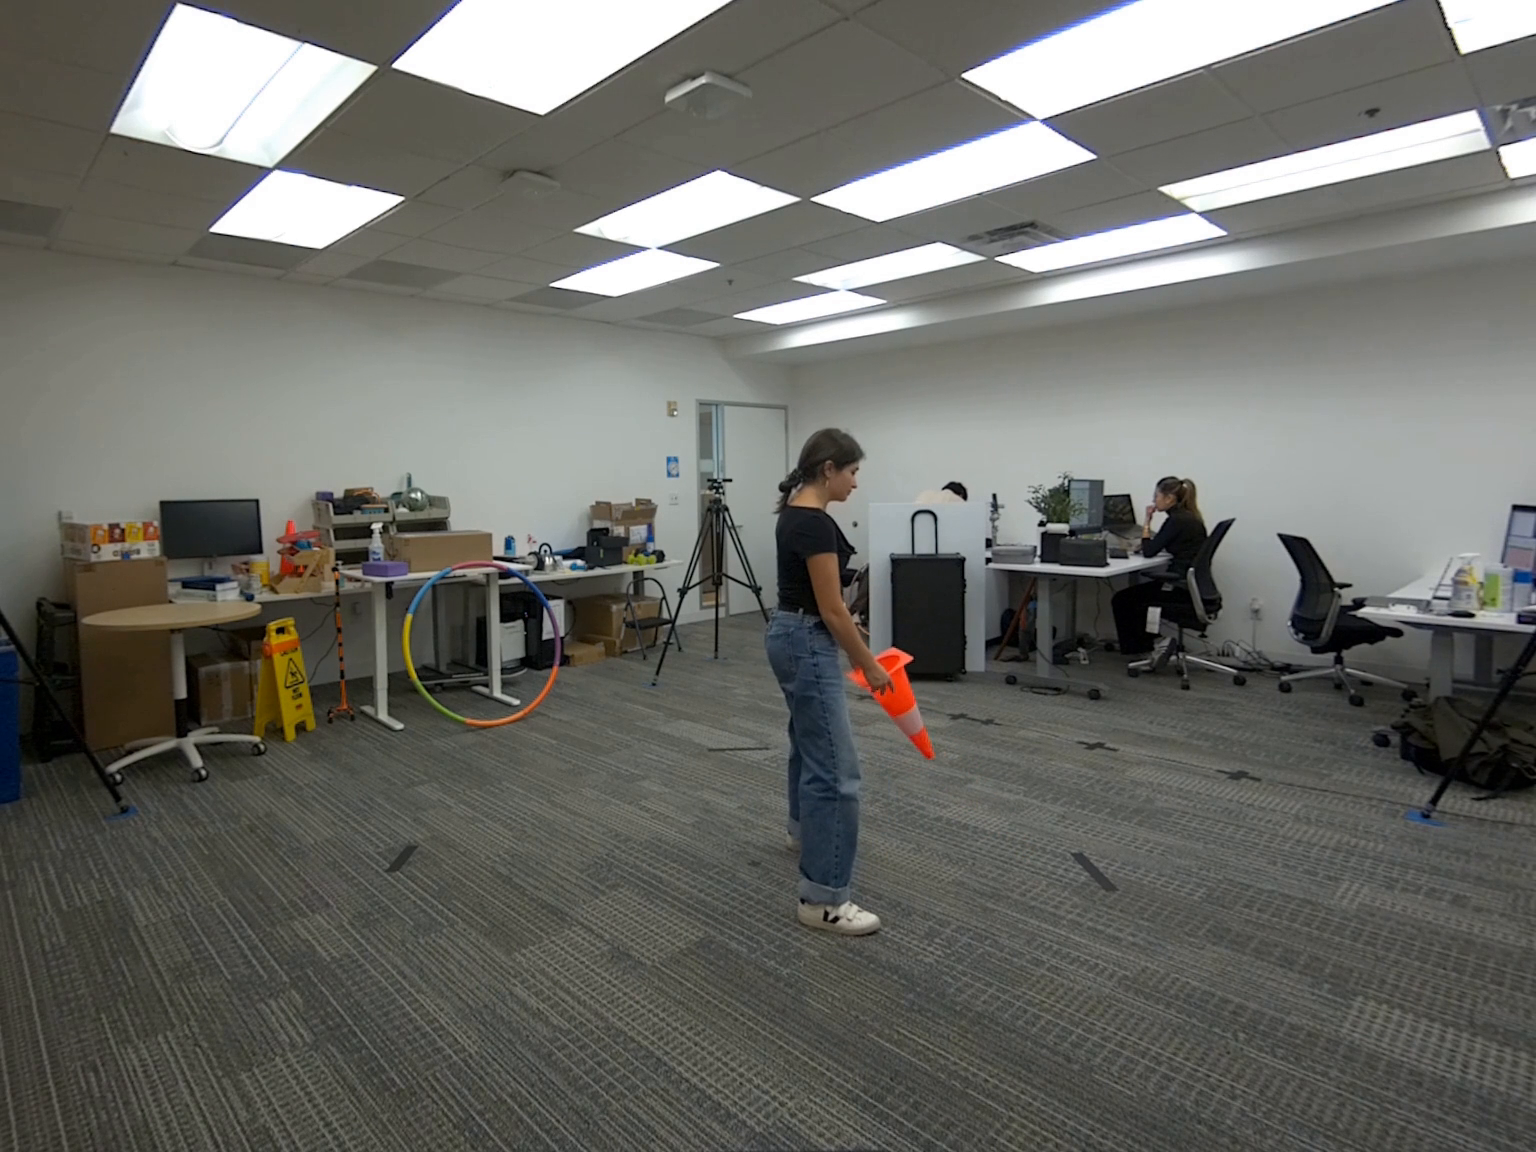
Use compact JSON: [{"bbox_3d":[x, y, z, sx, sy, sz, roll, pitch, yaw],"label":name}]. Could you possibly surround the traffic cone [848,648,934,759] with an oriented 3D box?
[{"bbox_3d":[0.475,0.476,2.953,0.205,0.378,0.206,-30,11,5],"label":"traffic cone"}]
